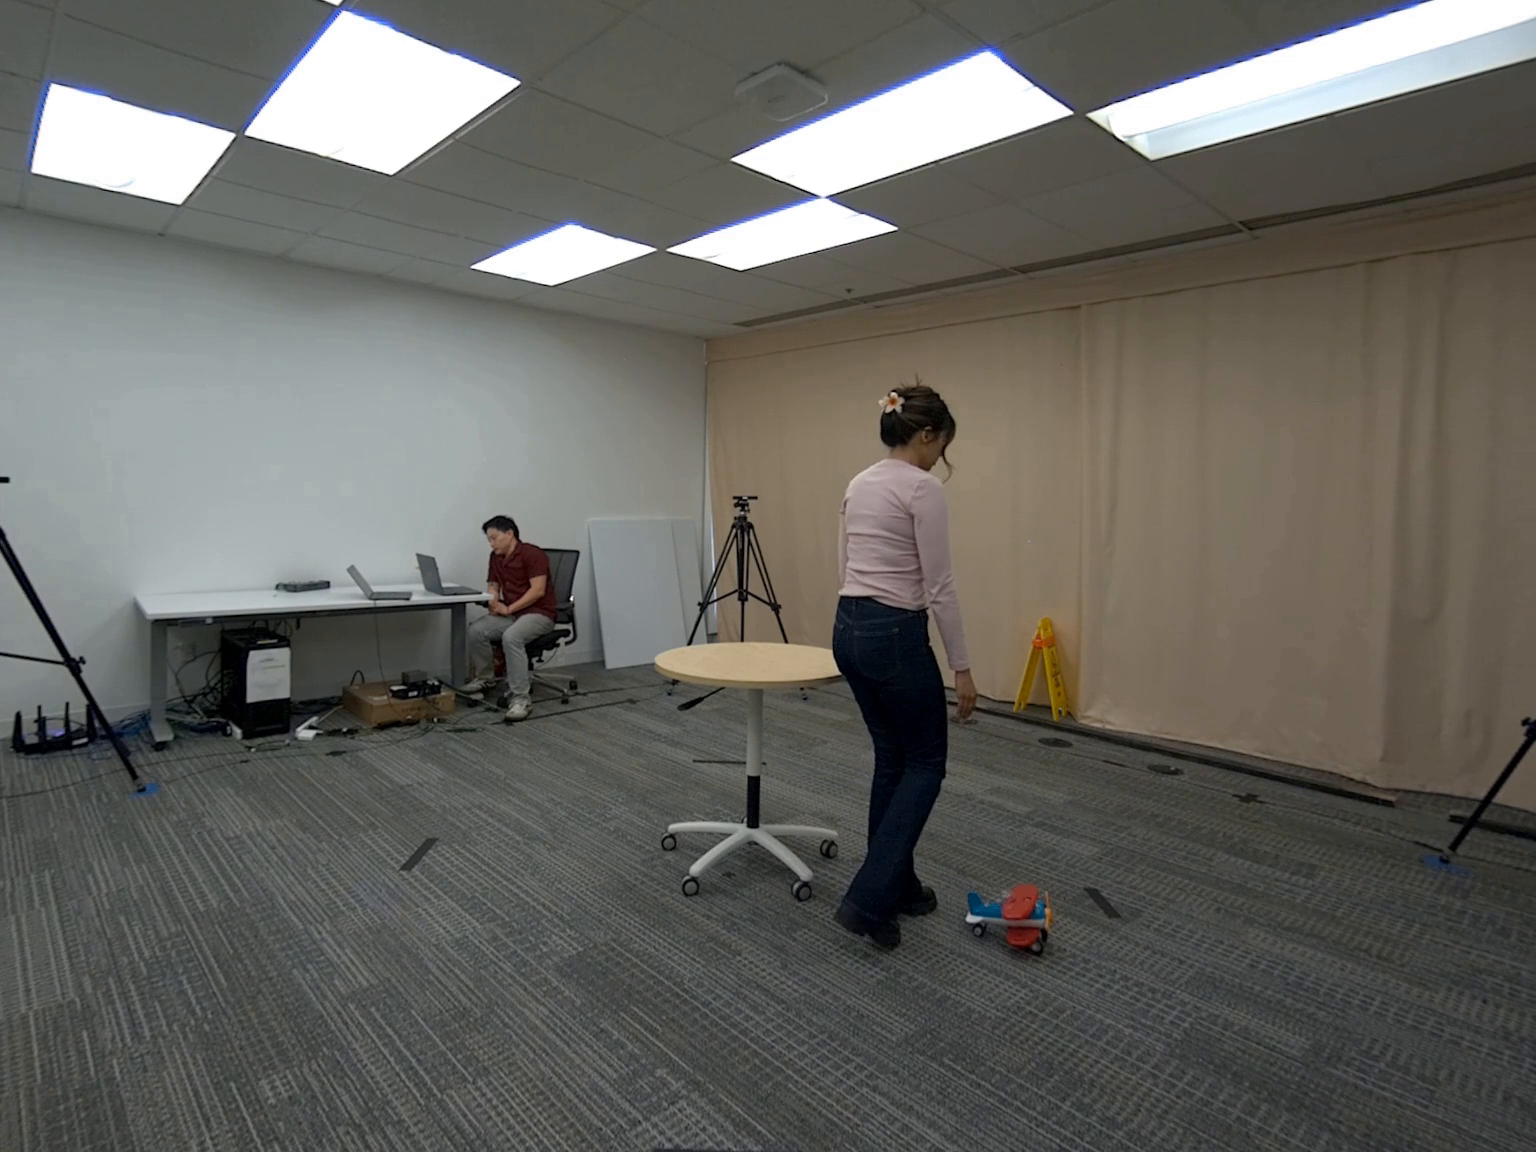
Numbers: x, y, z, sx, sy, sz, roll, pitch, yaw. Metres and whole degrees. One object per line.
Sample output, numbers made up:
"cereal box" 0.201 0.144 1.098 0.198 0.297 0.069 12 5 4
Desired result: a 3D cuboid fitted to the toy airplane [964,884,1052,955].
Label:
"toy airplane" 0.754 1.090 2.667 0.259 0.156 0.252 2 5 -1
